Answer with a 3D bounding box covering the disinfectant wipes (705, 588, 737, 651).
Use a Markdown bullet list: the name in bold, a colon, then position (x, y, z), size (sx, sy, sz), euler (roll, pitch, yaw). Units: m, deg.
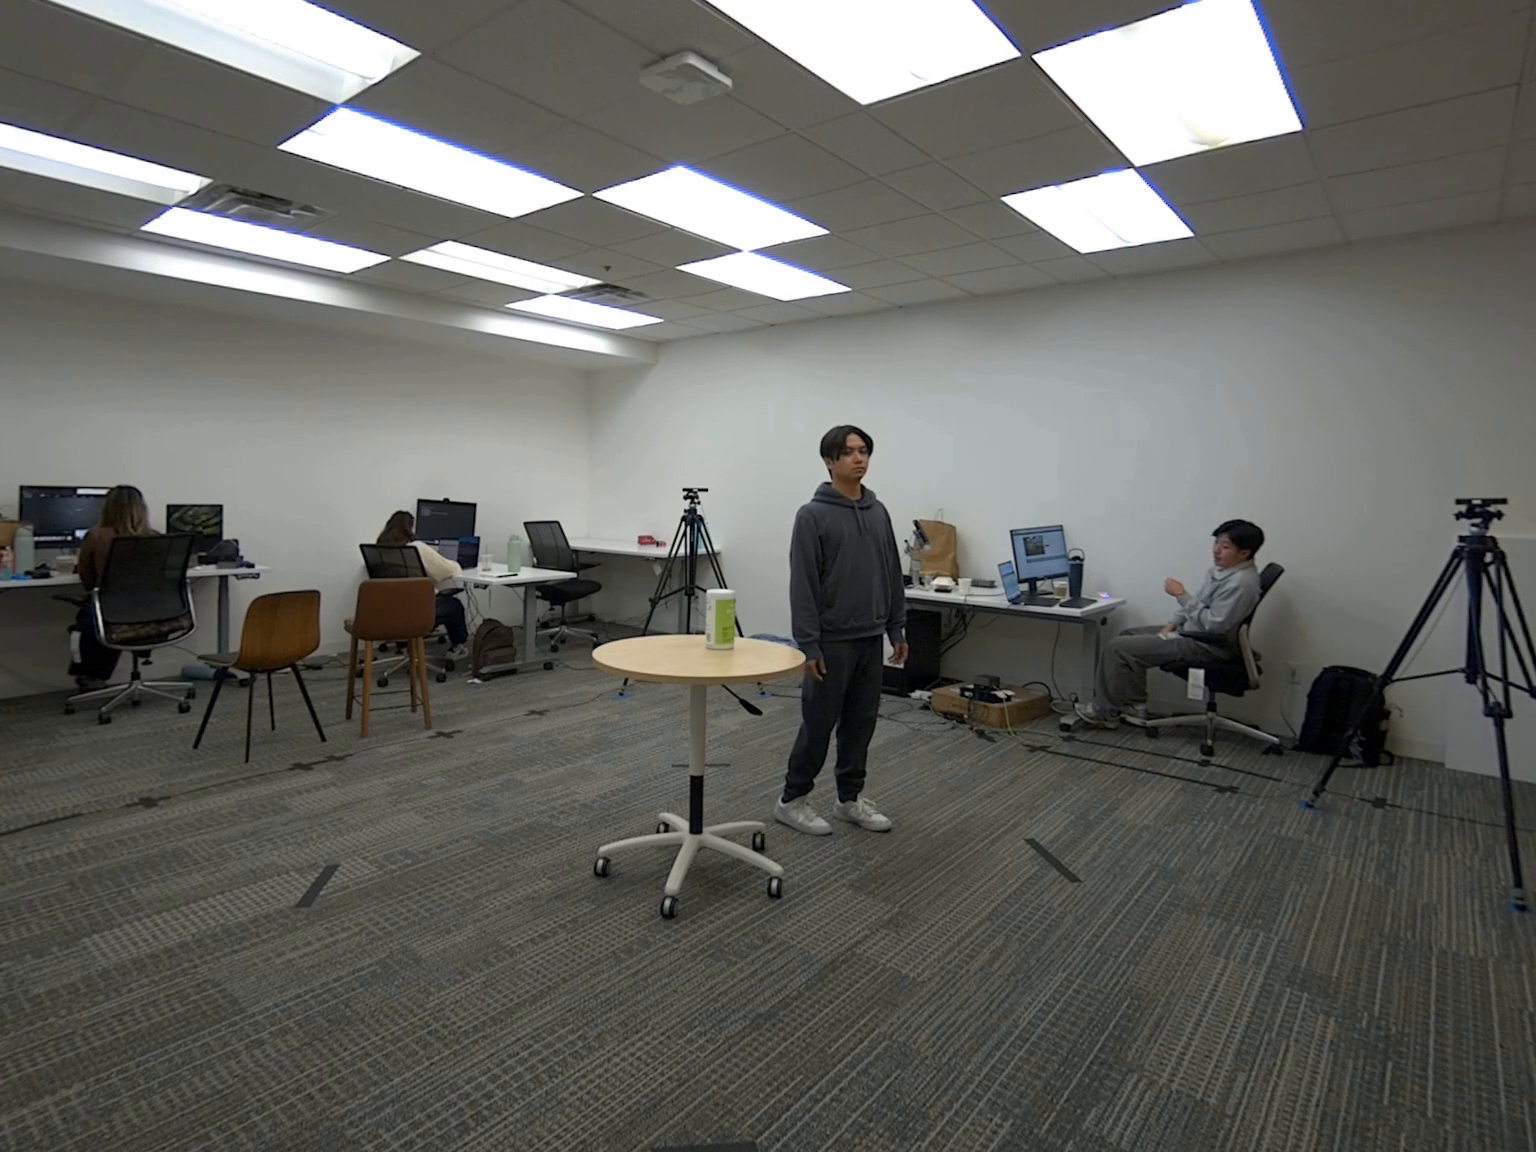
- **disinfectant wipes**: position (-0.193, 0.160, 3.181), size (0.117, 0.217, 0.118), euler (2, 2, -2)
